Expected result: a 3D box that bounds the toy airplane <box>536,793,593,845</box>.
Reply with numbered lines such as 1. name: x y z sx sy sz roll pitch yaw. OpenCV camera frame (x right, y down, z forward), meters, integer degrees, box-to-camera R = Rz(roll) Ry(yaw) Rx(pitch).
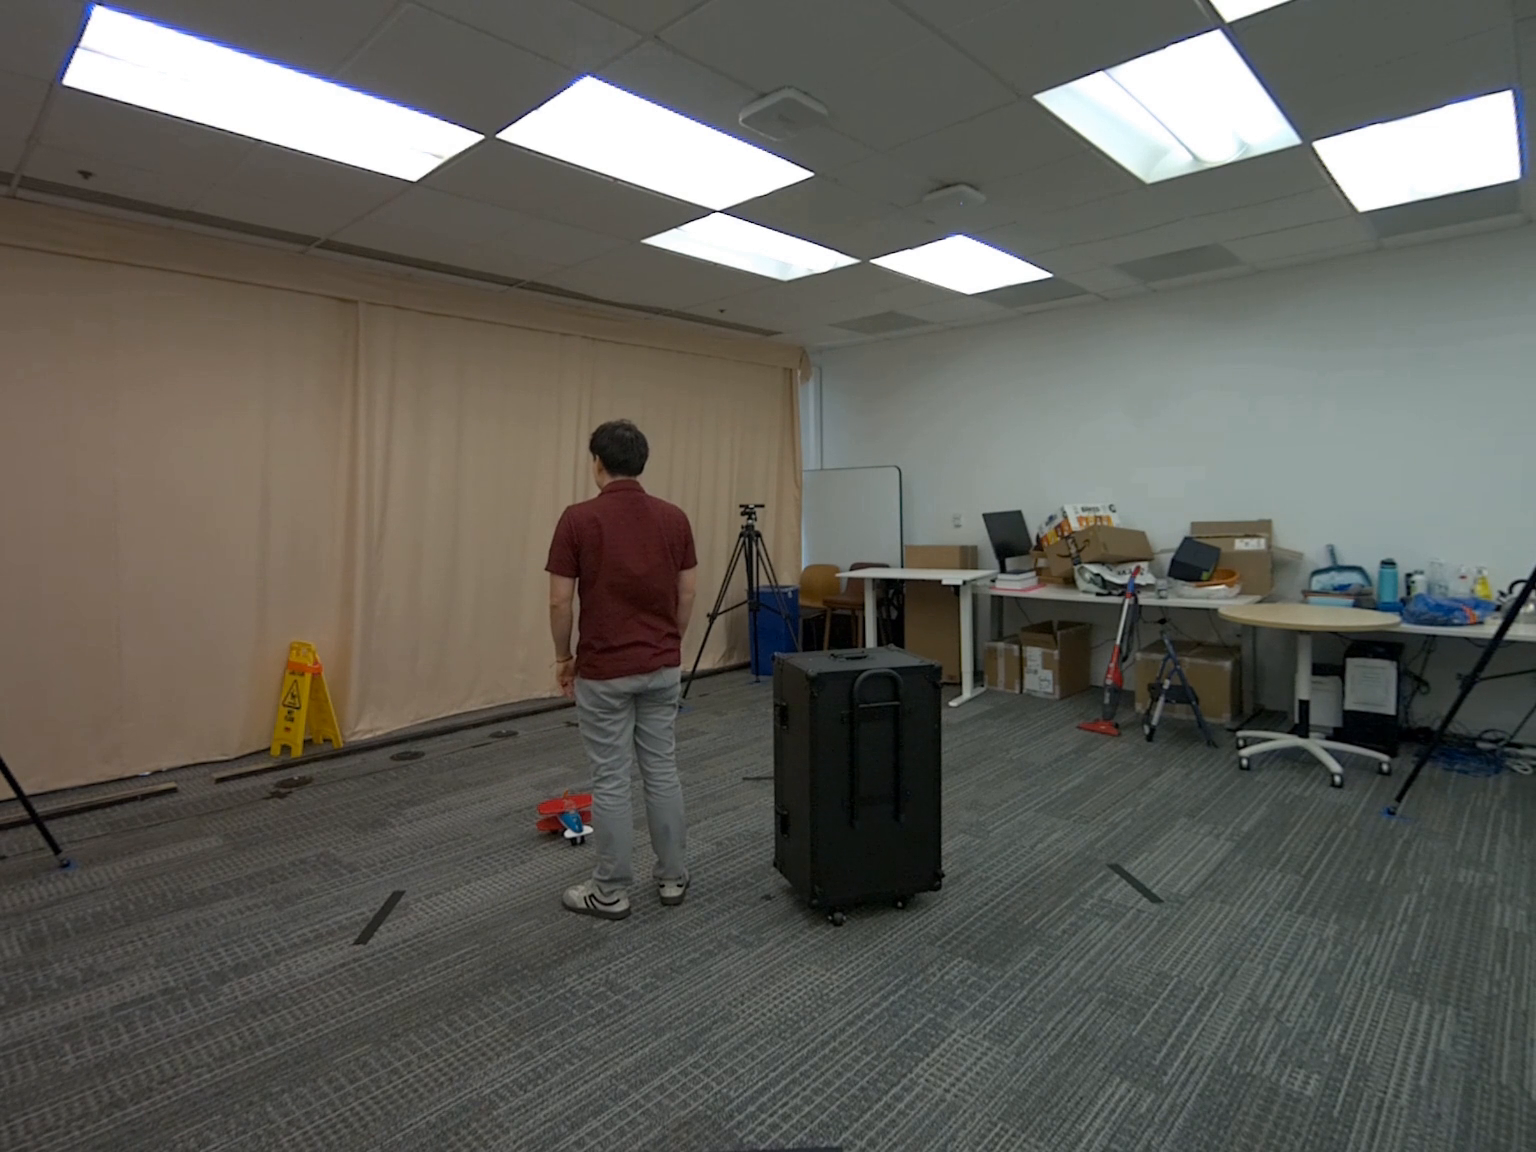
1. toy airplane: -0.831 1.036 3.584 0.267 0.156 0.245 0 5 30
